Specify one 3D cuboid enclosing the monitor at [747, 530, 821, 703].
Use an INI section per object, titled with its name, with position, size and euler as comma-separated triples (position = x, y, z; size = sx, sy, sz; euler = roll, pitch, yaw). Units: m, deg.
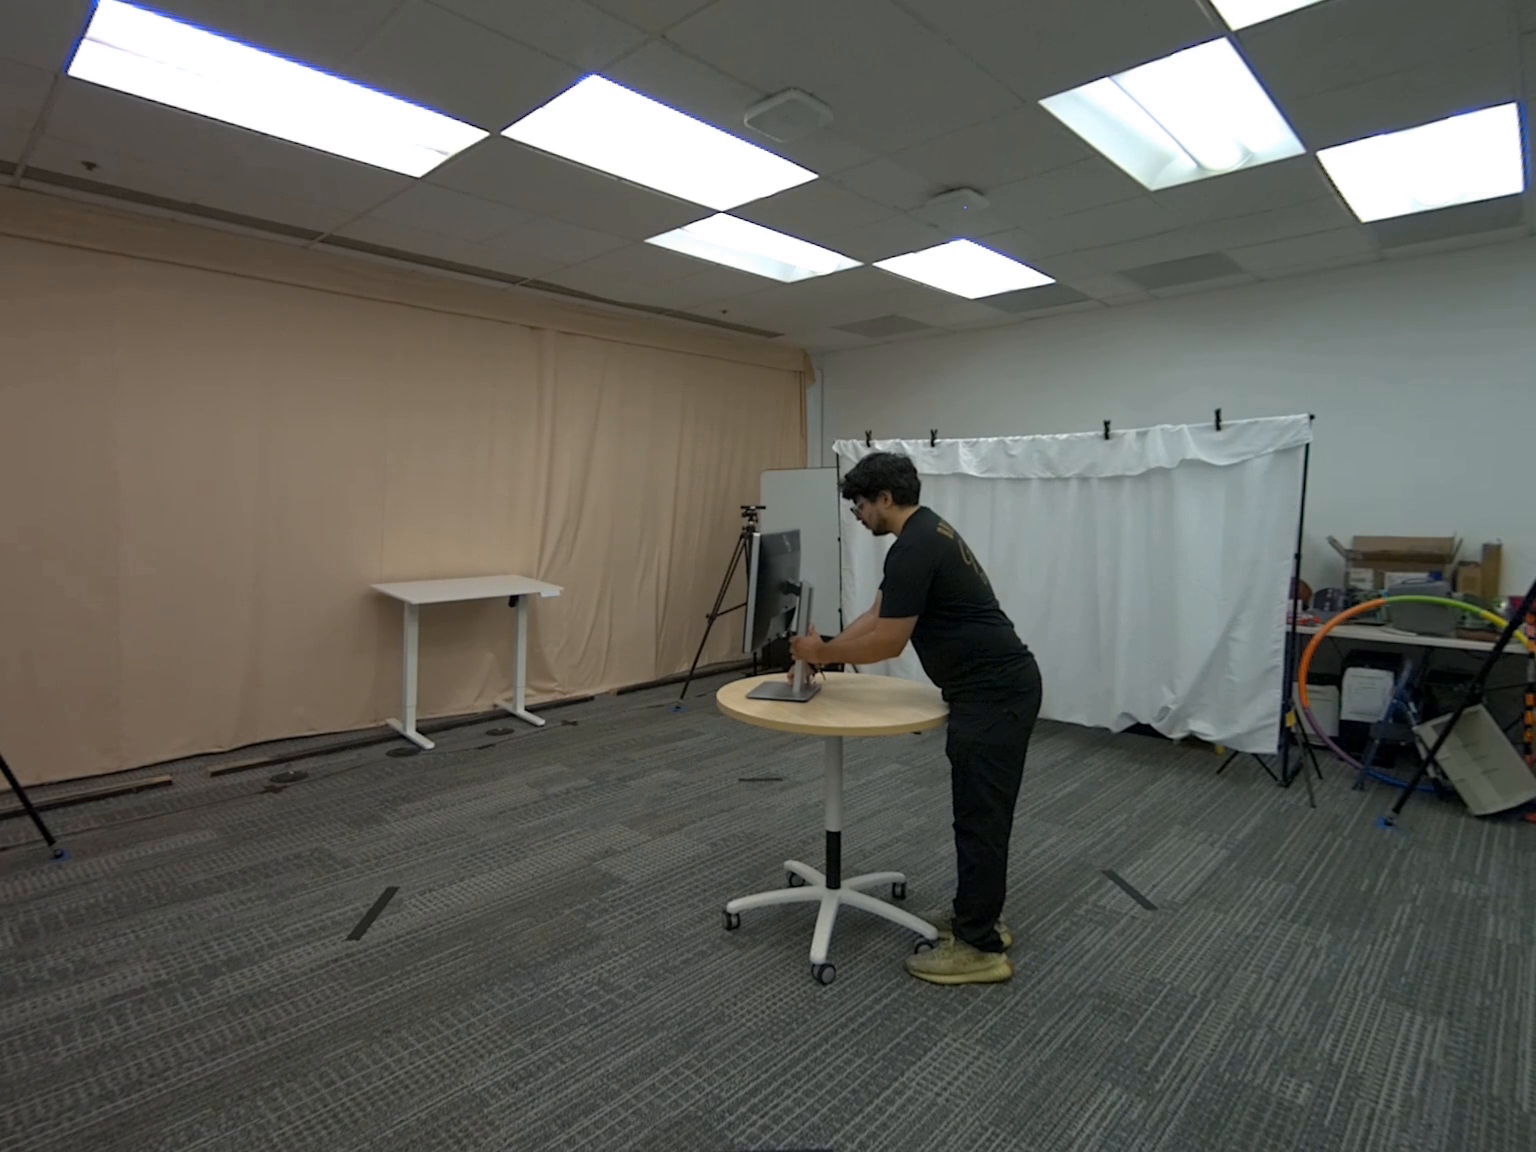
[monitor]
position = 0.085, 0.125, 2.751
size = 0.214, 0.552, 0.556
euler = 3, 5, 16
